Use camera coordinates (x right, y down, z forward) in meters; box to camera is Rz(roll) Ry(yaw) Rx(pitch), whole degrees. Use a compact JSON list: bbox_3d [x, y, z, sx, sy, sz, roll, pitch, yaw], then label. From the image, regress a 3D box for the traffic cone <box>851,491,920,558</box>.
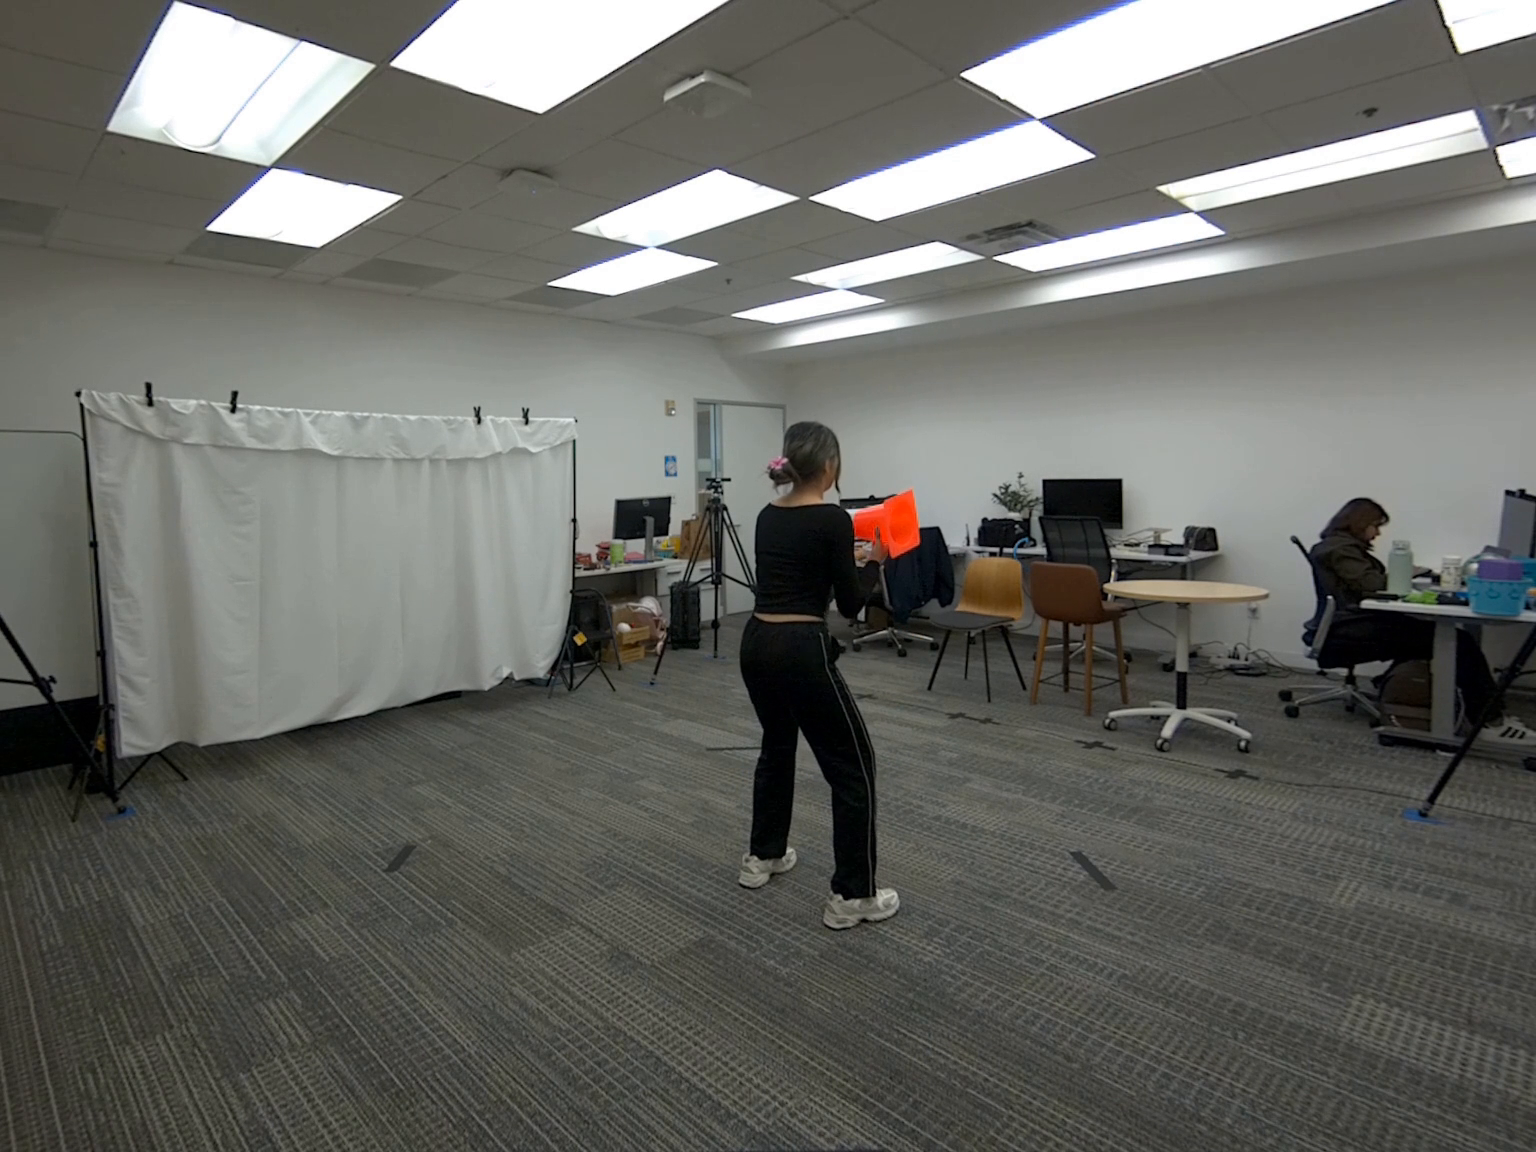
[{"bbox_3d":[0.321,-0.185,3.026,0.395,0.202,0.200,4,20,42],"label":"traffic cone"}]
